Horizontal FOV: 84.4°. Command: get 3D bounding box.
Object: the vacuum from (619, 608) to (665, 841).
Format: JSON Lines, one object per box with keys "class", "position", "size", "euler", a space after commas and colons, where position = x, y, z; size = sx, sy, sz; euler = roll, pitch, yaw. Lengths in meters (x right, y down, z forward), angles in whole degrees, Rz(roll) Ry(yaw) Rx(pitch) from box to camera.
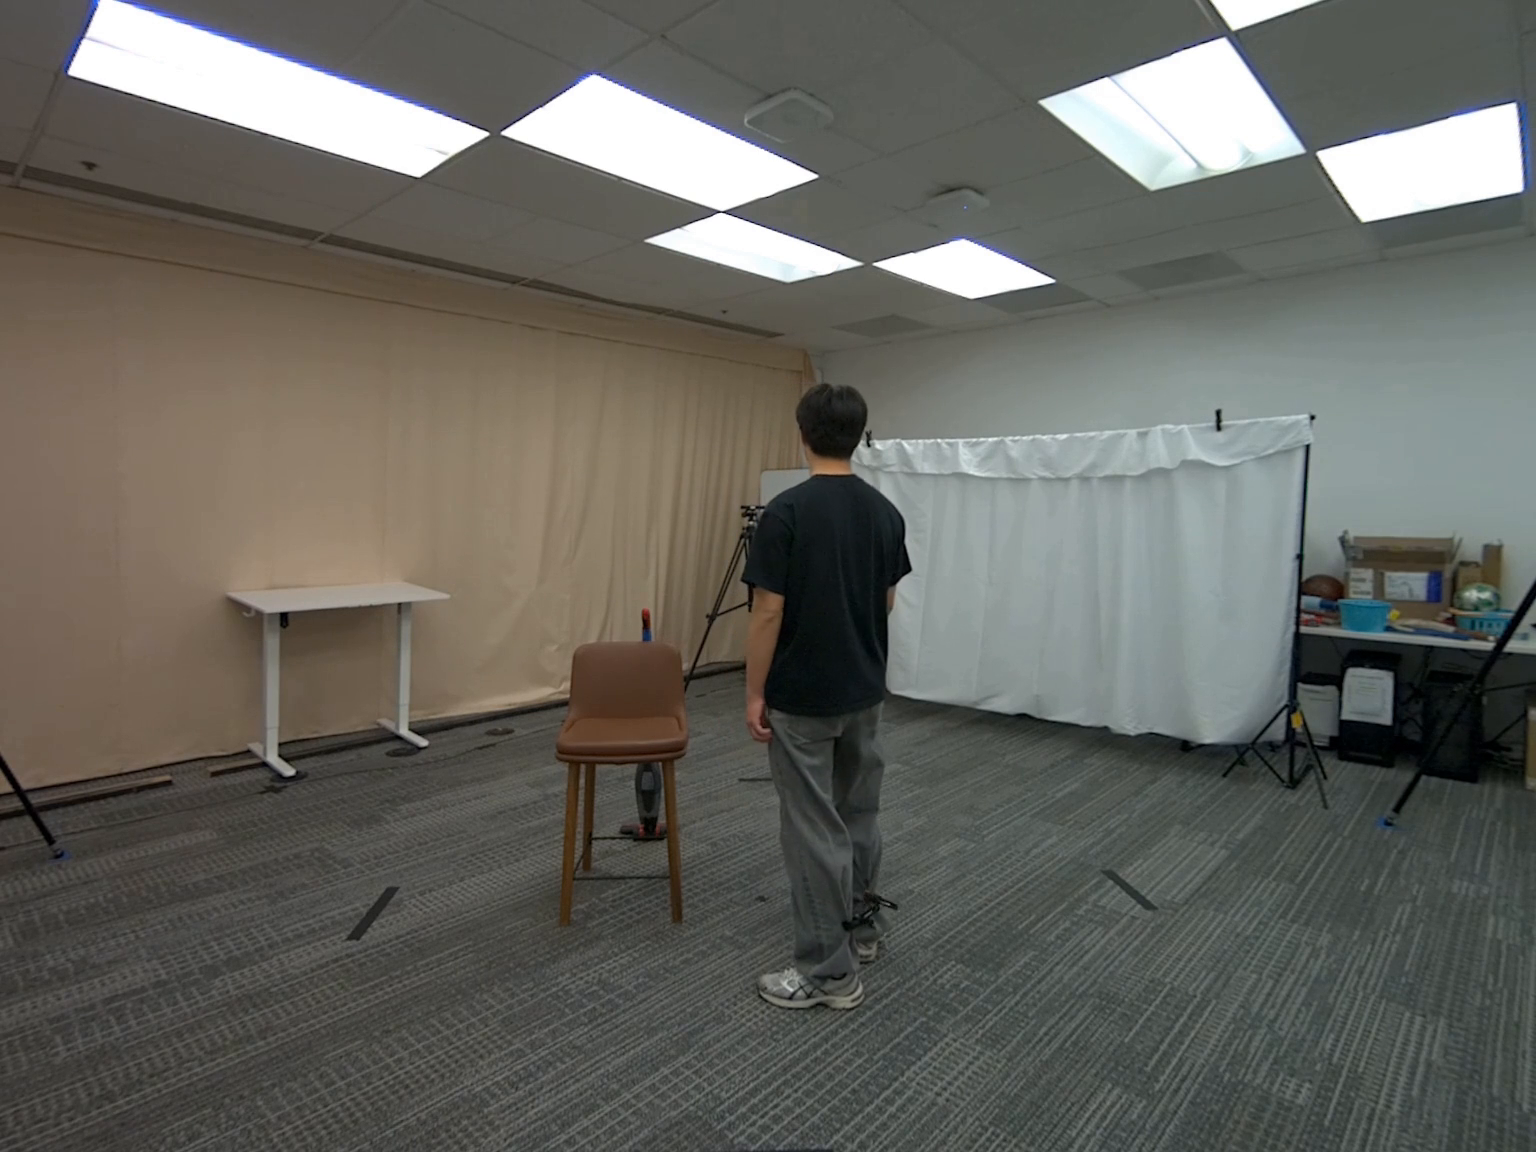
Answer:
{"class": "vacuum", "position": [-0.482, 0.611, 3.392], "size": [0.249, 1.038, 0.147], "euler": [-1, 20, -14]}
